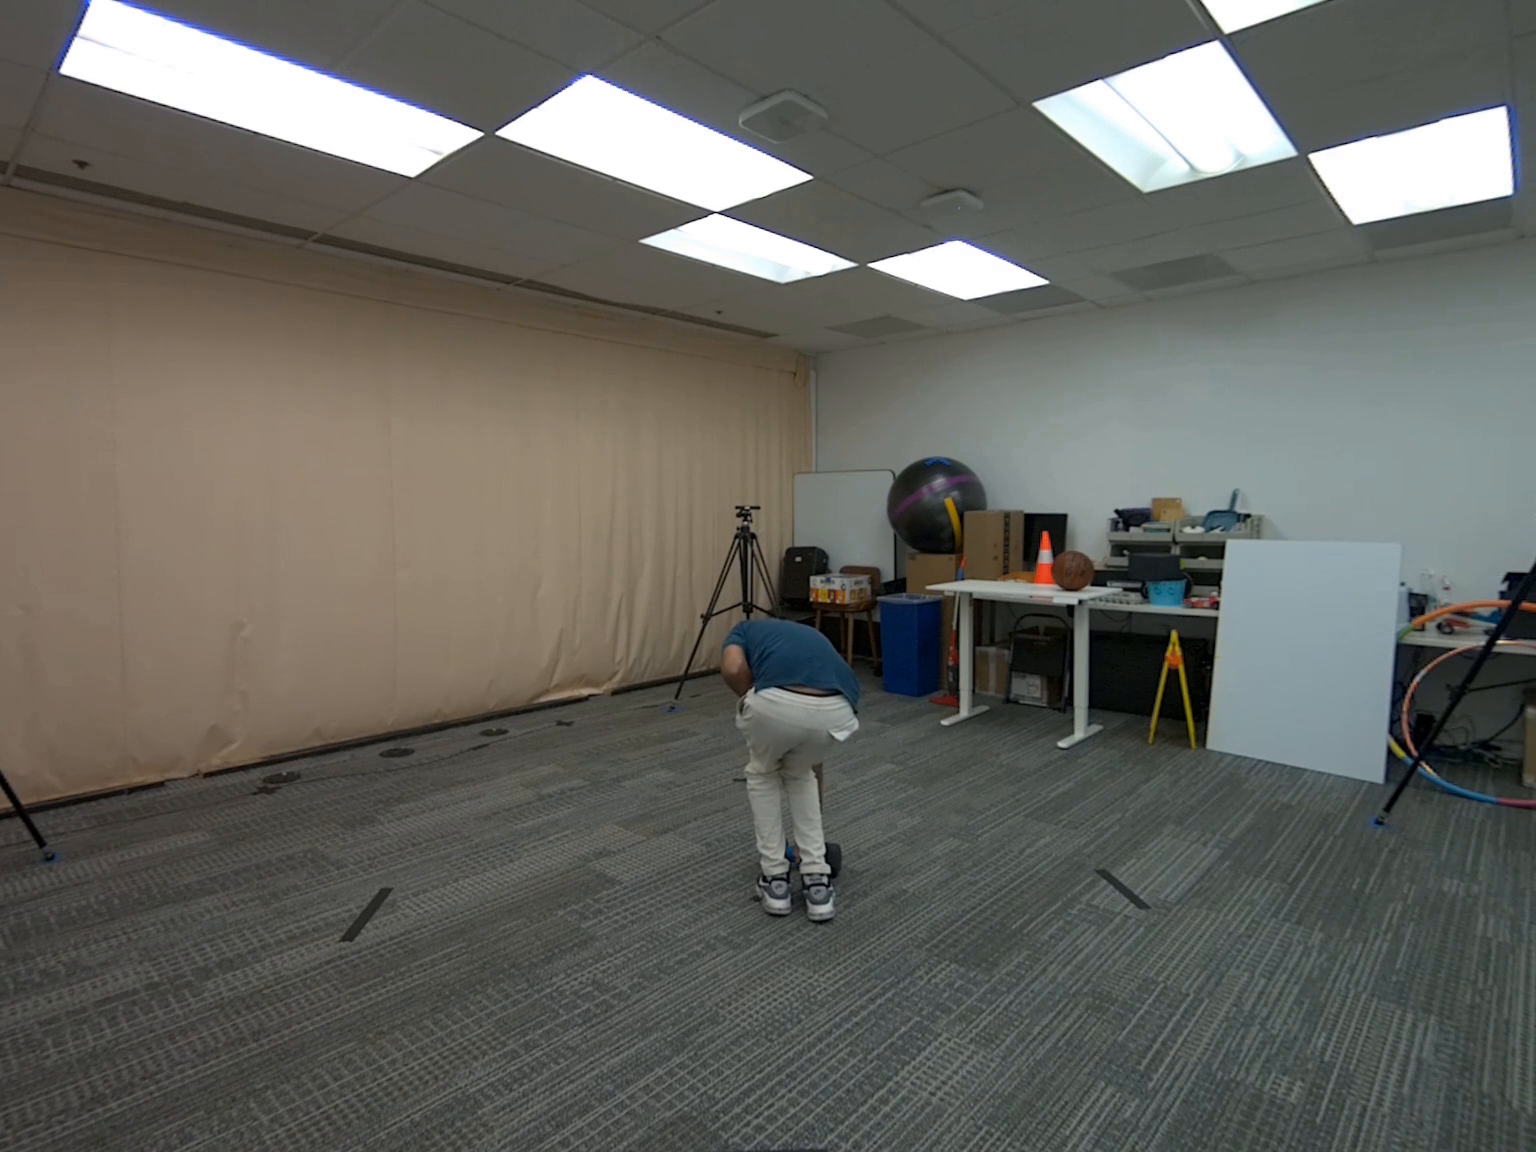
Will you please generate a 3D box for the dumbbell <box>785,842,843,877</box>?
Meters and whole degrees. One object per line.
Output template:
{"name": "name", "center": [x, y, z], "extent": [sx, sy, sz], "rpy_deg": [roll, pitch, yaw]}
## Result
{"name": "dumbbell", "center": [0.134, 1.072, 3.214], "extent": [0.300, 0.124, 0.105], "rpy_deg": [2, -27, 20]}
